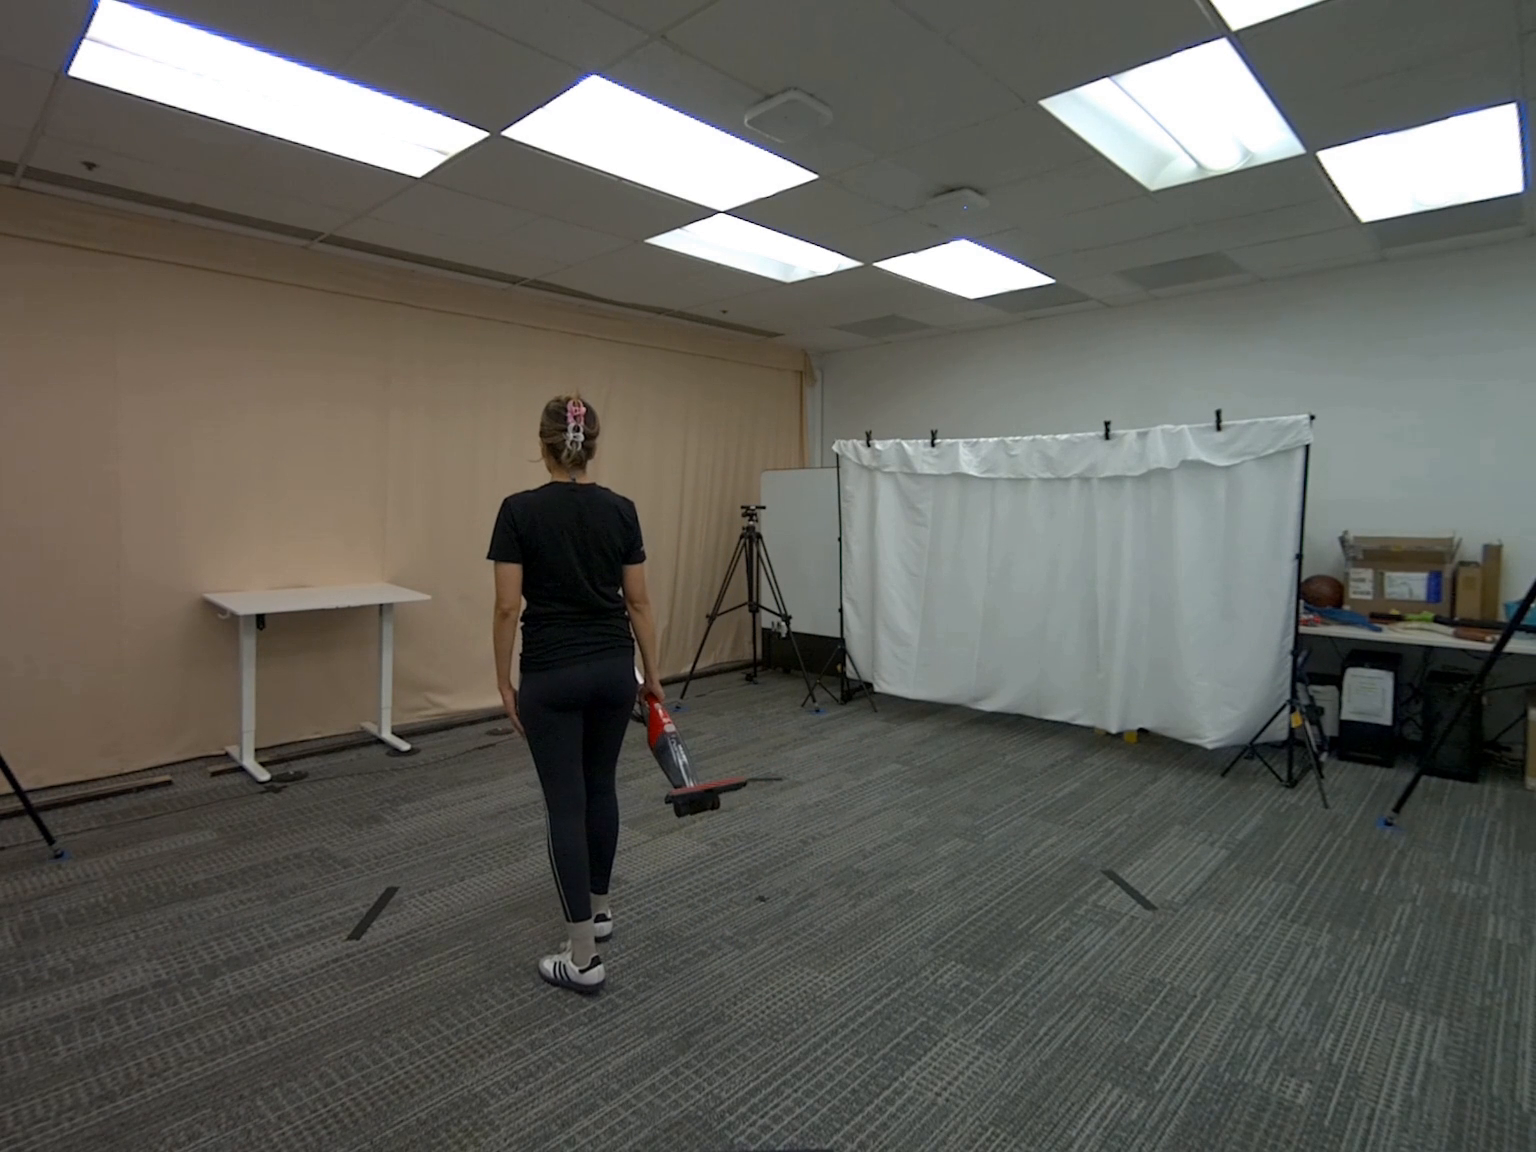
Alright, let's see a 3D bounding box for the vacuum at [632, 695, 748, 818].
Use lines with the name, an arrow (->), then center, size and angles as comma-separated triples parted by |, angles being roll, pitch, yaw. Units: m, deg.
vacuum -> -0.426, 0.408, 2.849 | 0.246, 0.142, 1.086 | -5, 31, -27
